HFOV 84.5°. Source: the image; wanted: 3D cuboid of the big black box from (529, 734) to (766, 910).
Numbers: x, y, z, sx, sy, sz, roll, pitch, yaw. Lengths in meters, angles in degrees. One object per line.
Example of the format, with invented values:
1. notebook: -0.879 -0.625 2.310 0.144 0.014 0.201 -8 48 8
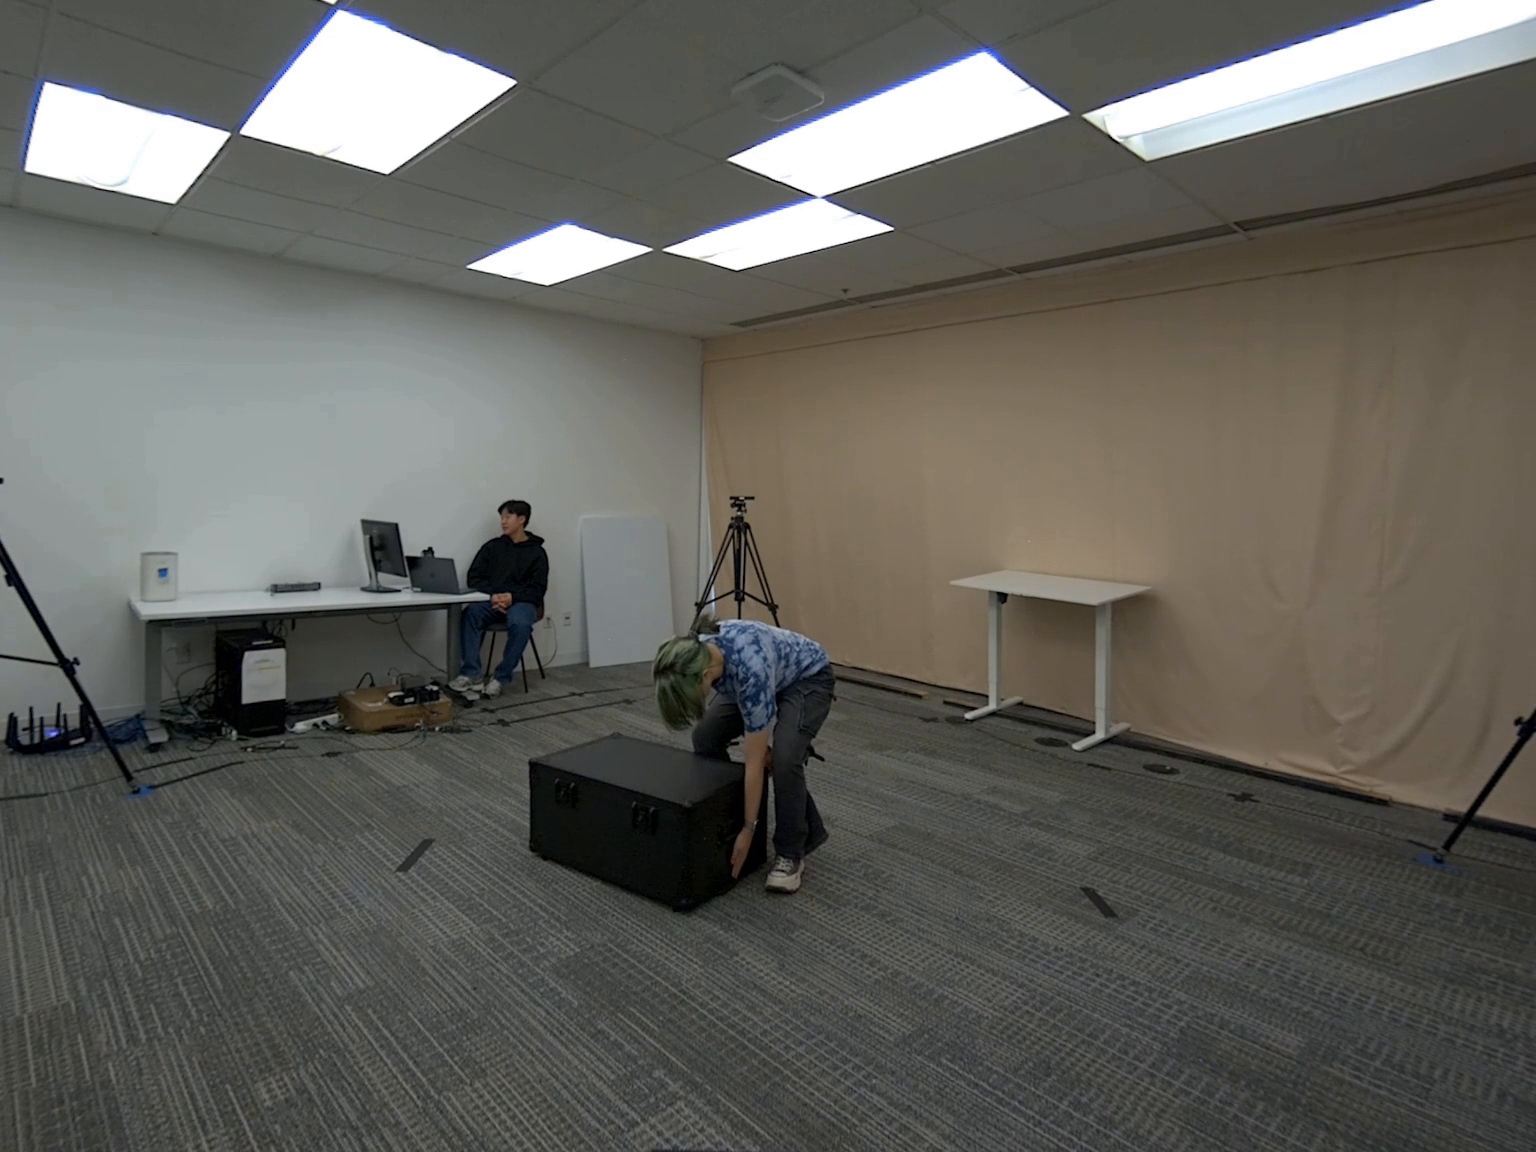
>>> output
1. big black box: -0.491 0.892 3.204 0.882 0.395 0.510 5 6 34
